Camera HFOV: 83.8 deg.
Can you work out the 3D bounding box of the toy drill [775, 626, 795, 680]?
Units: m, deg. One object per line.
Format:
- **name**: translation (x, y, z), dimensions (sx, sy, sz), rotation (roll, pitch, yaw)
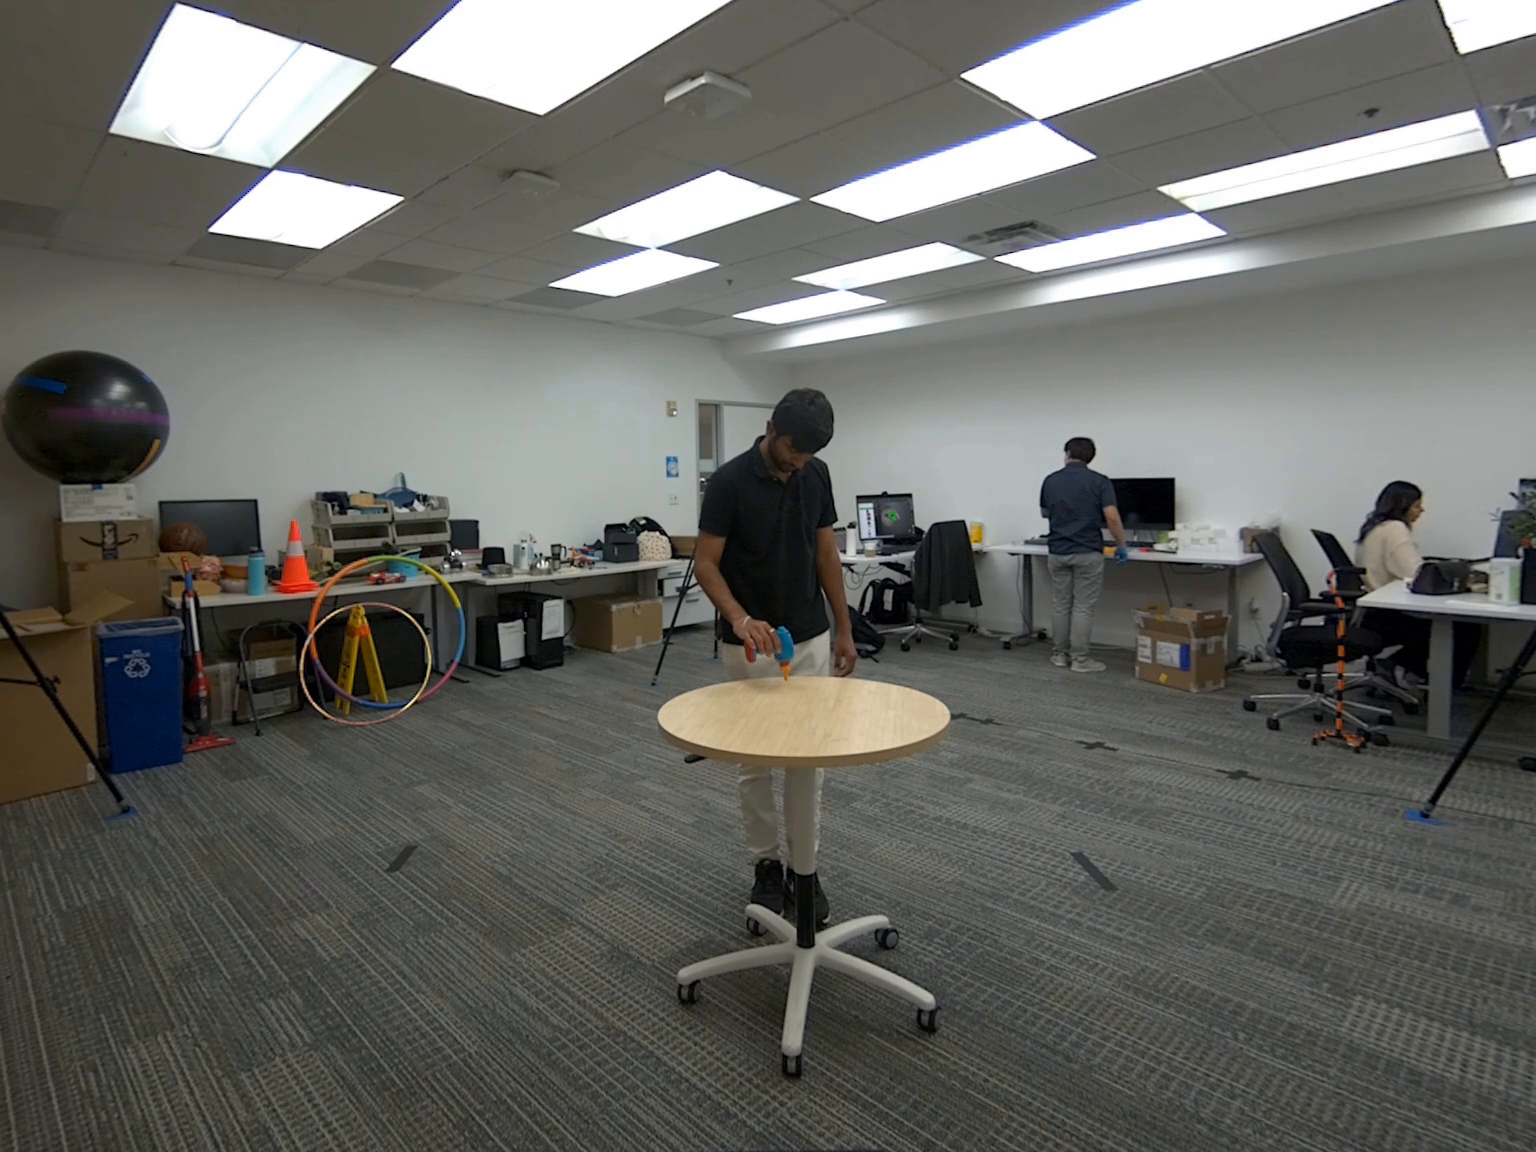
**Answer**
- **toy drill**: translation (0.003, 0.234, 2.512), dimensions (0.144, 0.167, 0.063), rotation (-8, 14, -17)
